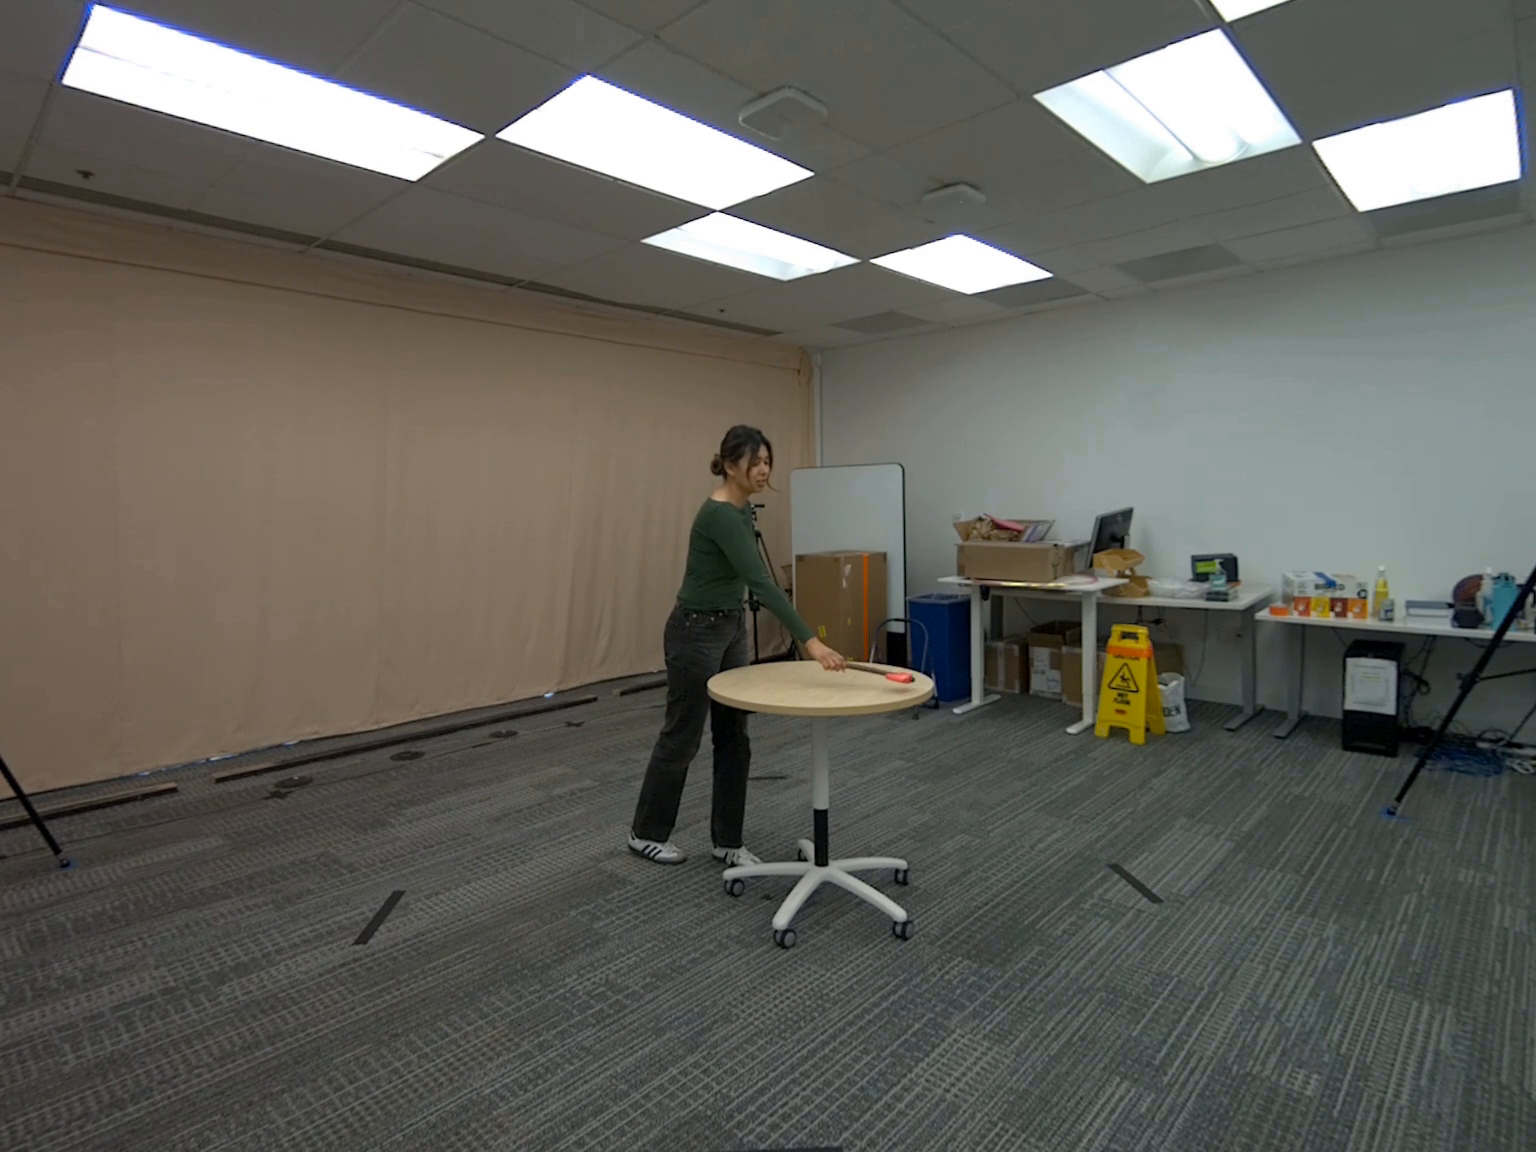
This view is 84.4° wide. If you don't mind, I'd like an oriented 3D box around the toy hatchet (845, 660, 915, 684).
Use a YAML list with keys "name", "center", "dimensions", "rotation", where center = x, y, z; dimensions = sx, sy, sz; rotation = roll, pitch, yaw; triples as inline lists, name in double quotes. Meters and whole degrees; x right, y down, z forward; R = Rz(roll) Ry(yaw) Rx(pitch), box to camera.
- name: "toy hatchet"
  center: [0.349, 0.308, 2.712]
  dimensions: [0.274, 0.029, 0.129]
  rotation: [8, 6, 11]
